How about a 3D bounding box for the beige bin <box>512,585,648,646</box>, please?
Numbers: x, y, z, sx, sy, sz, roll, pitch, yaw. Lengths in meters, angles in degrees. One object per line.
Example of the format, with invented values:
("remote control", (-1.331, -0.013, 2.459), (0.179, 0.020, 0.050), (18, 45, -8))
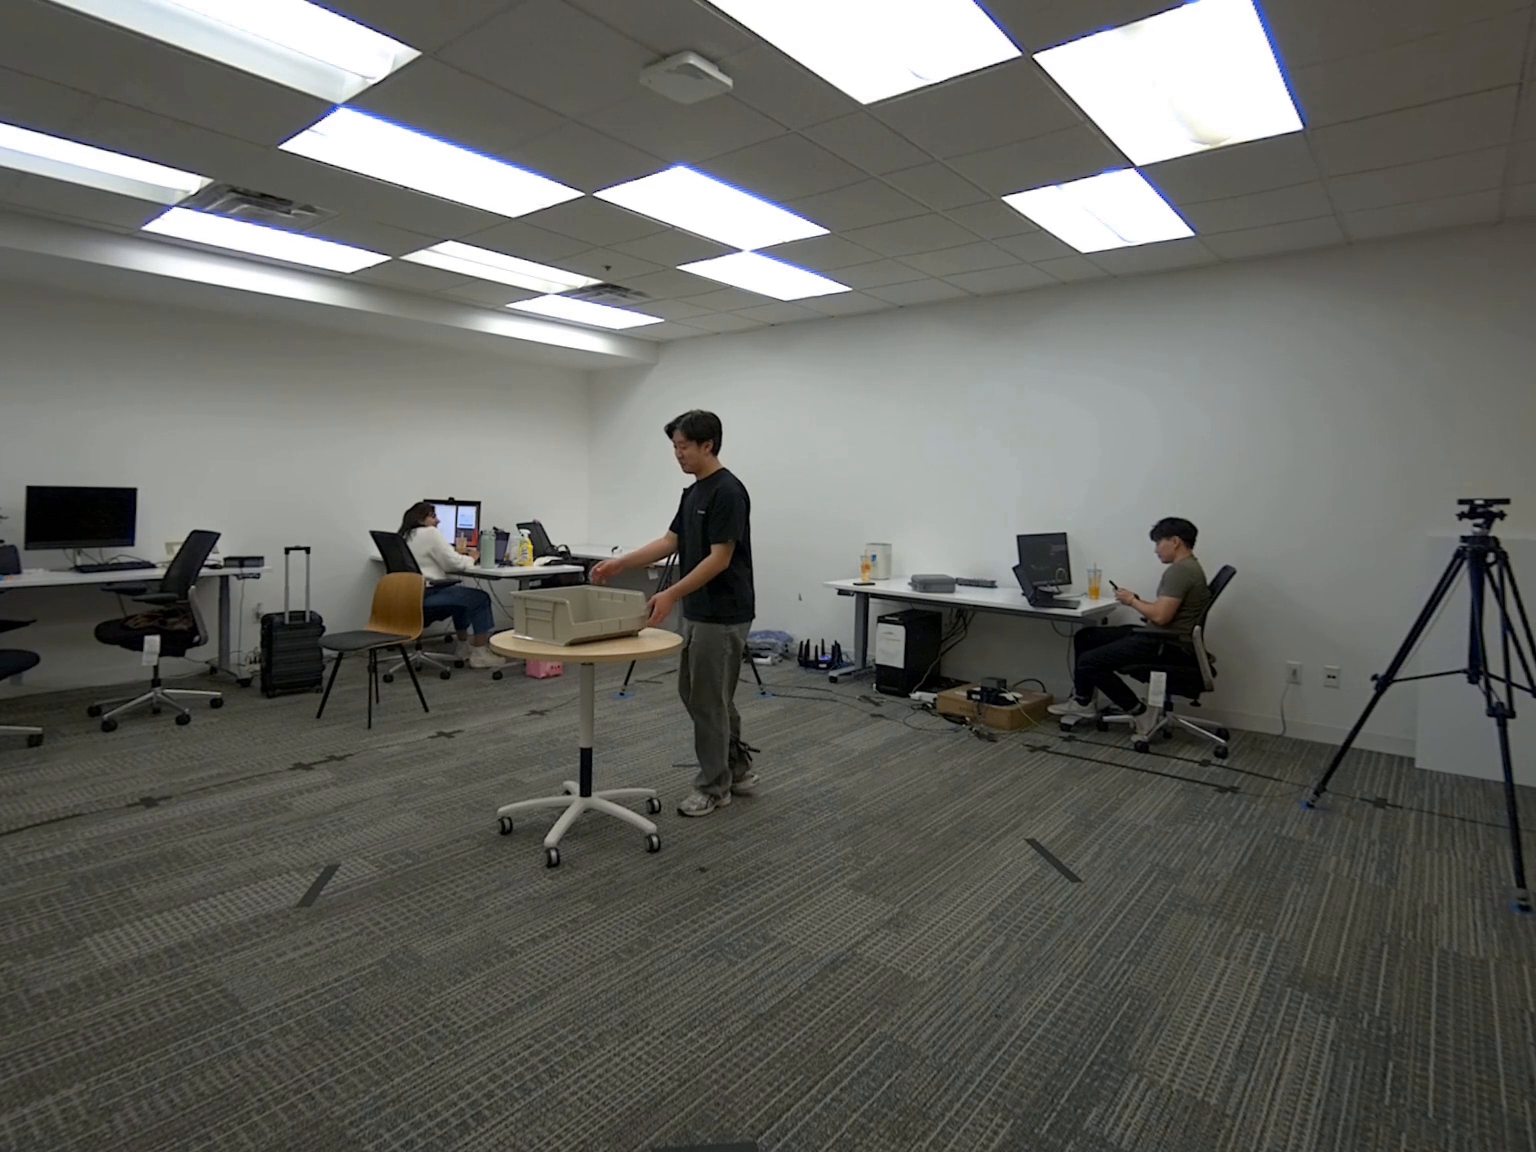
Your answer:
("beige bin", (-0.770, 0.154, 3.447), (0.390, 0.188, 0.410), (4, 6, 37))
